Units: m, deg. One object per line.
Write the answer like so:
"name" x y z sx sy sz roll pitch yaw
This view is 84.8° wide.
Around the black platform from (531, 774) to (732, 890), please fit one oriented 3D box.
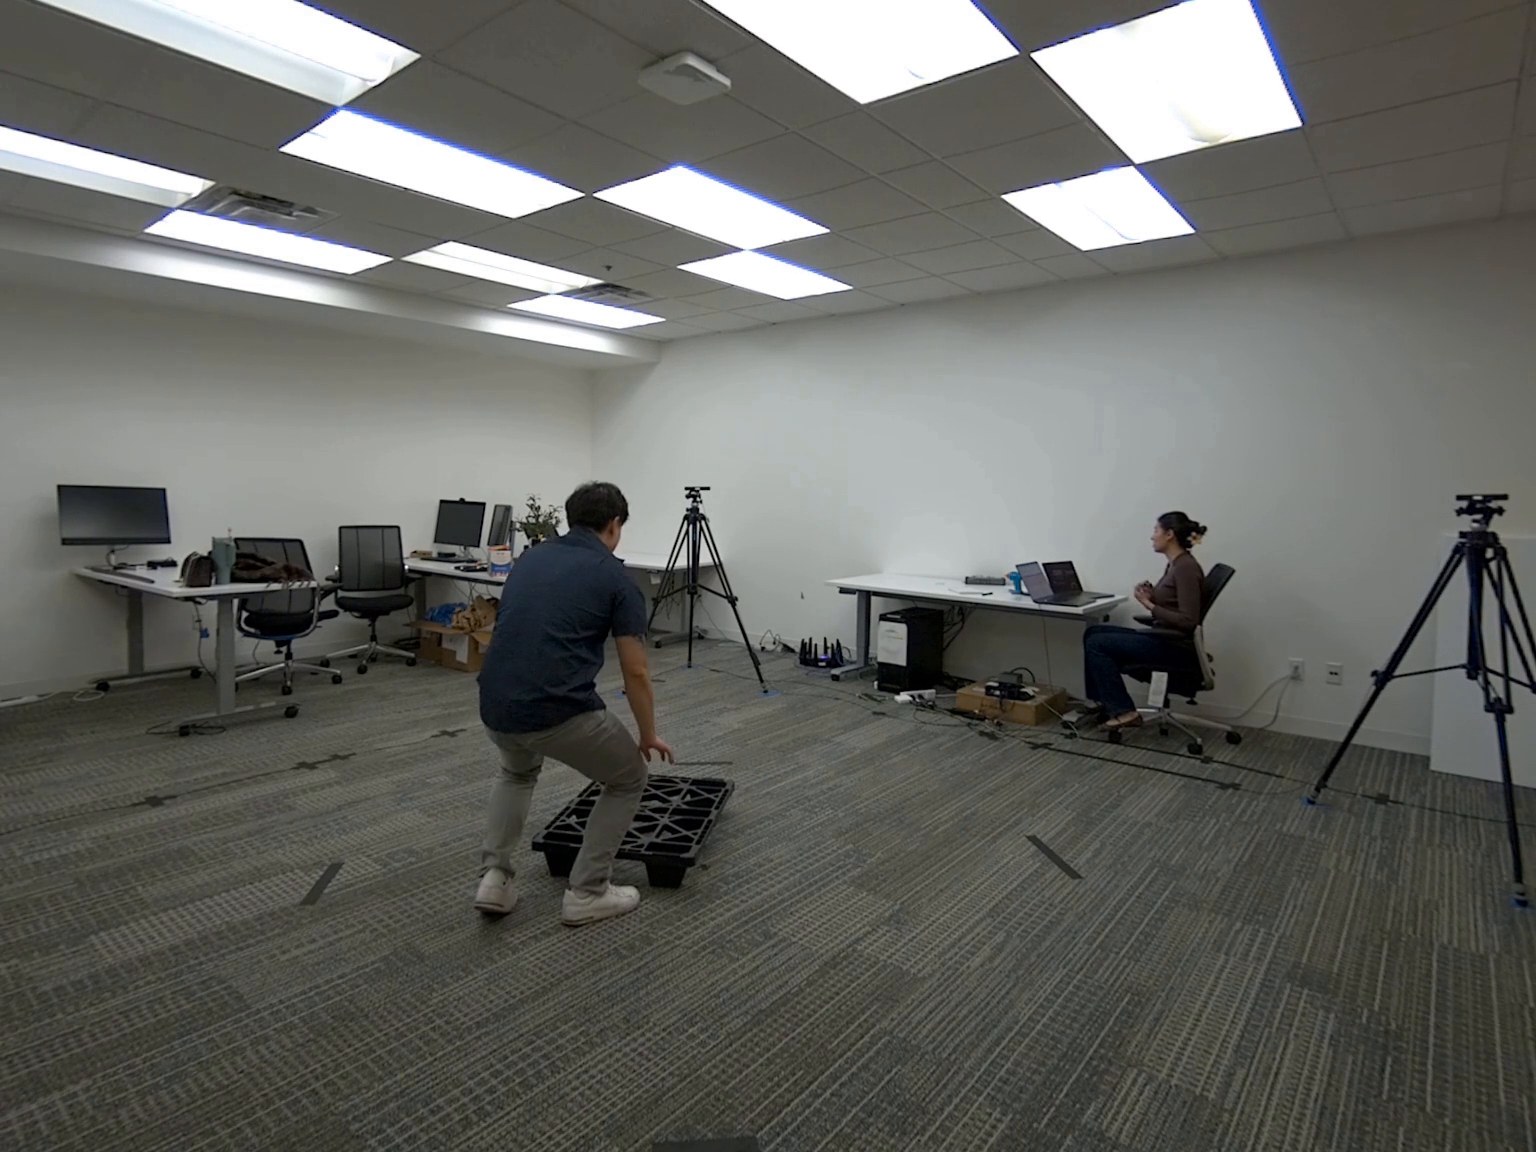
"black platform" -0.503 0.970 3.335 0.612 0.143 0.799 1 5 9
